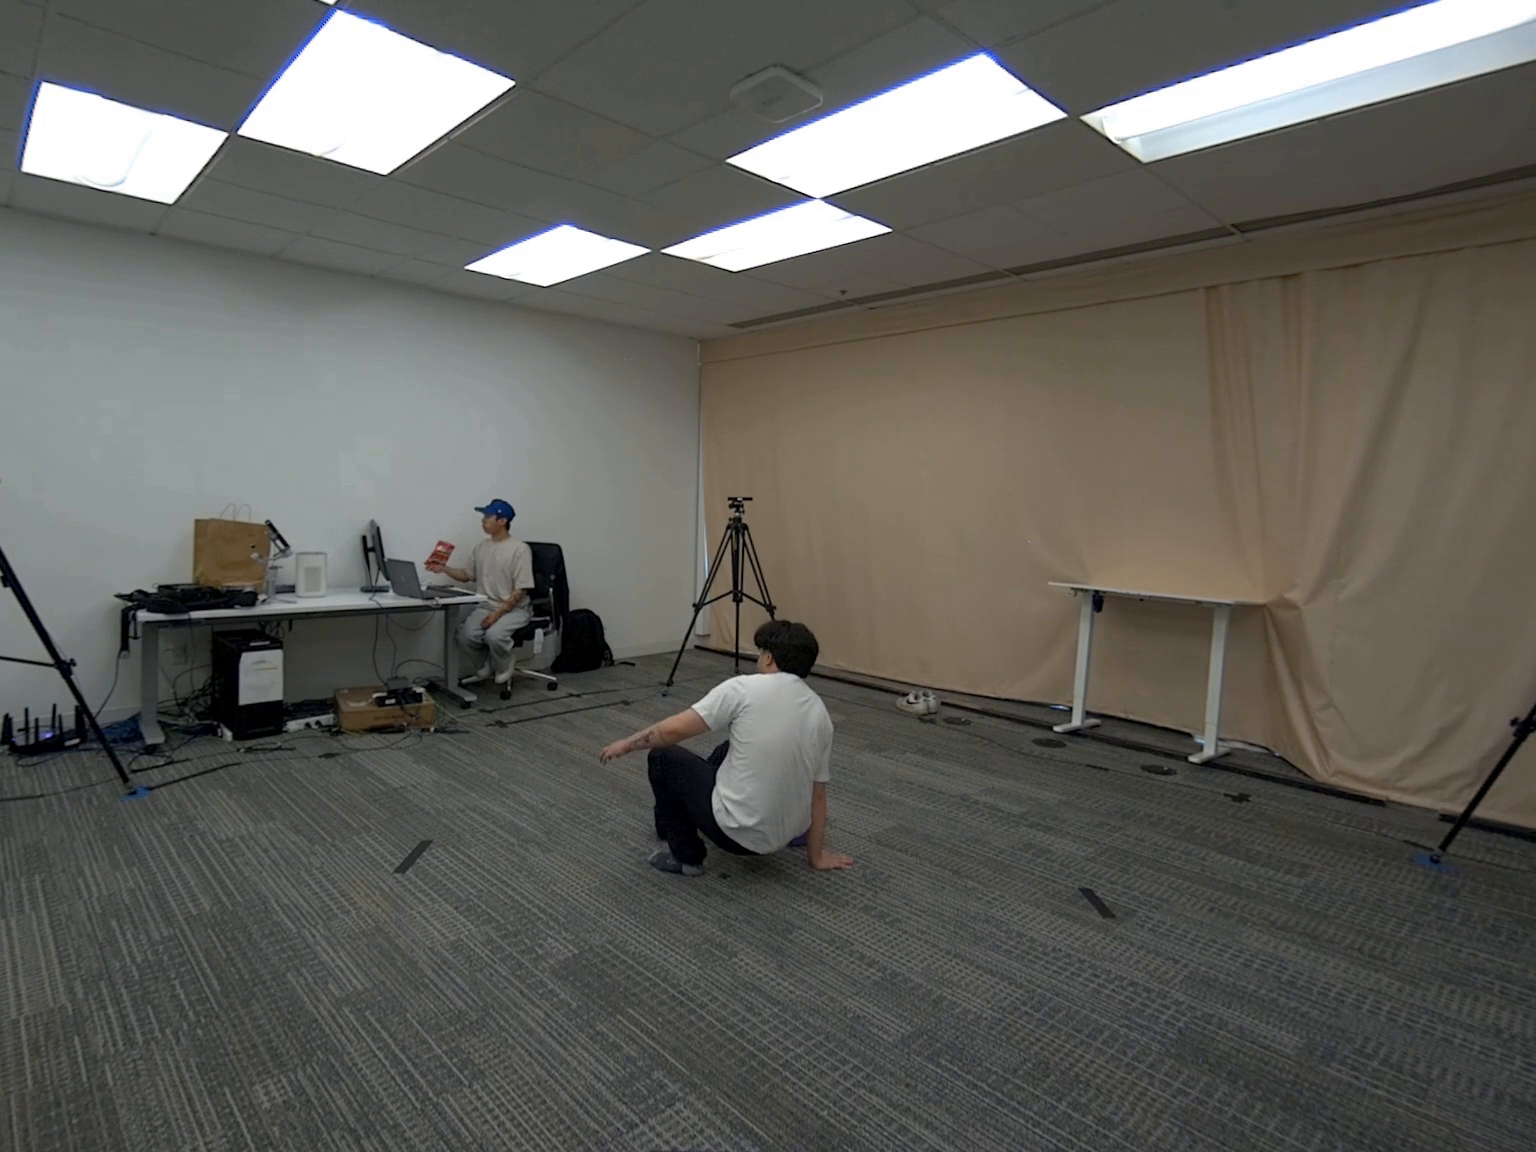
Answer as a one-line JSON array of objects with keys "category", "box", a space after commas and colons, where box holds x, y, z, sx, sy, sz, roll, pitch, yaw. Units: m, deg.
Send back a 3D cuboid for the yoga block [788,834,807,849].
[{"category": "yoga block", "box": [0.115, 1.042, 3.501, 0.147, 0.076, 0.233, 0, 4, -19]}]
